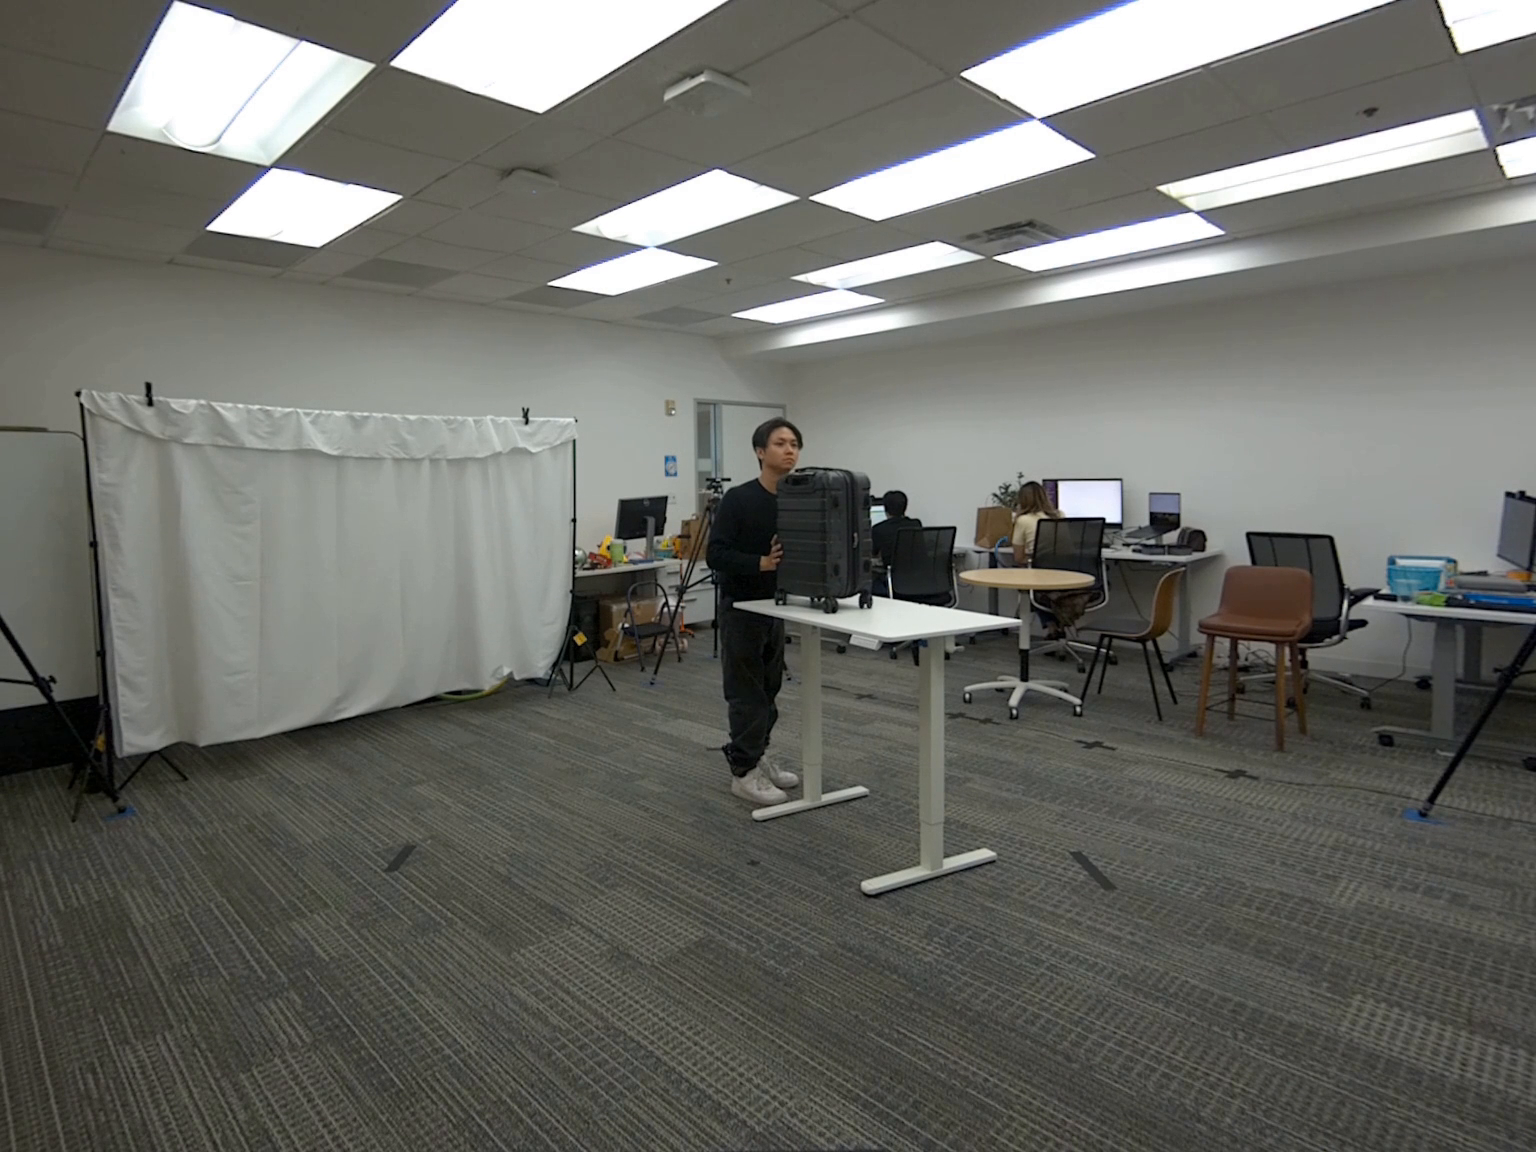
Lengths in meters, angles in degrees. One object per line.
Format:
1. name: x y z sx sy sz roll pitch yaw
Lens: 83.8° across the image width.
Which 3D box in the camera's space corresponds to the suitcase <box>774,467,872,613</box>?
1. suitcase: 0.211 -0.154 3.393 0.241 0.549 0.386 -1 2 -37
